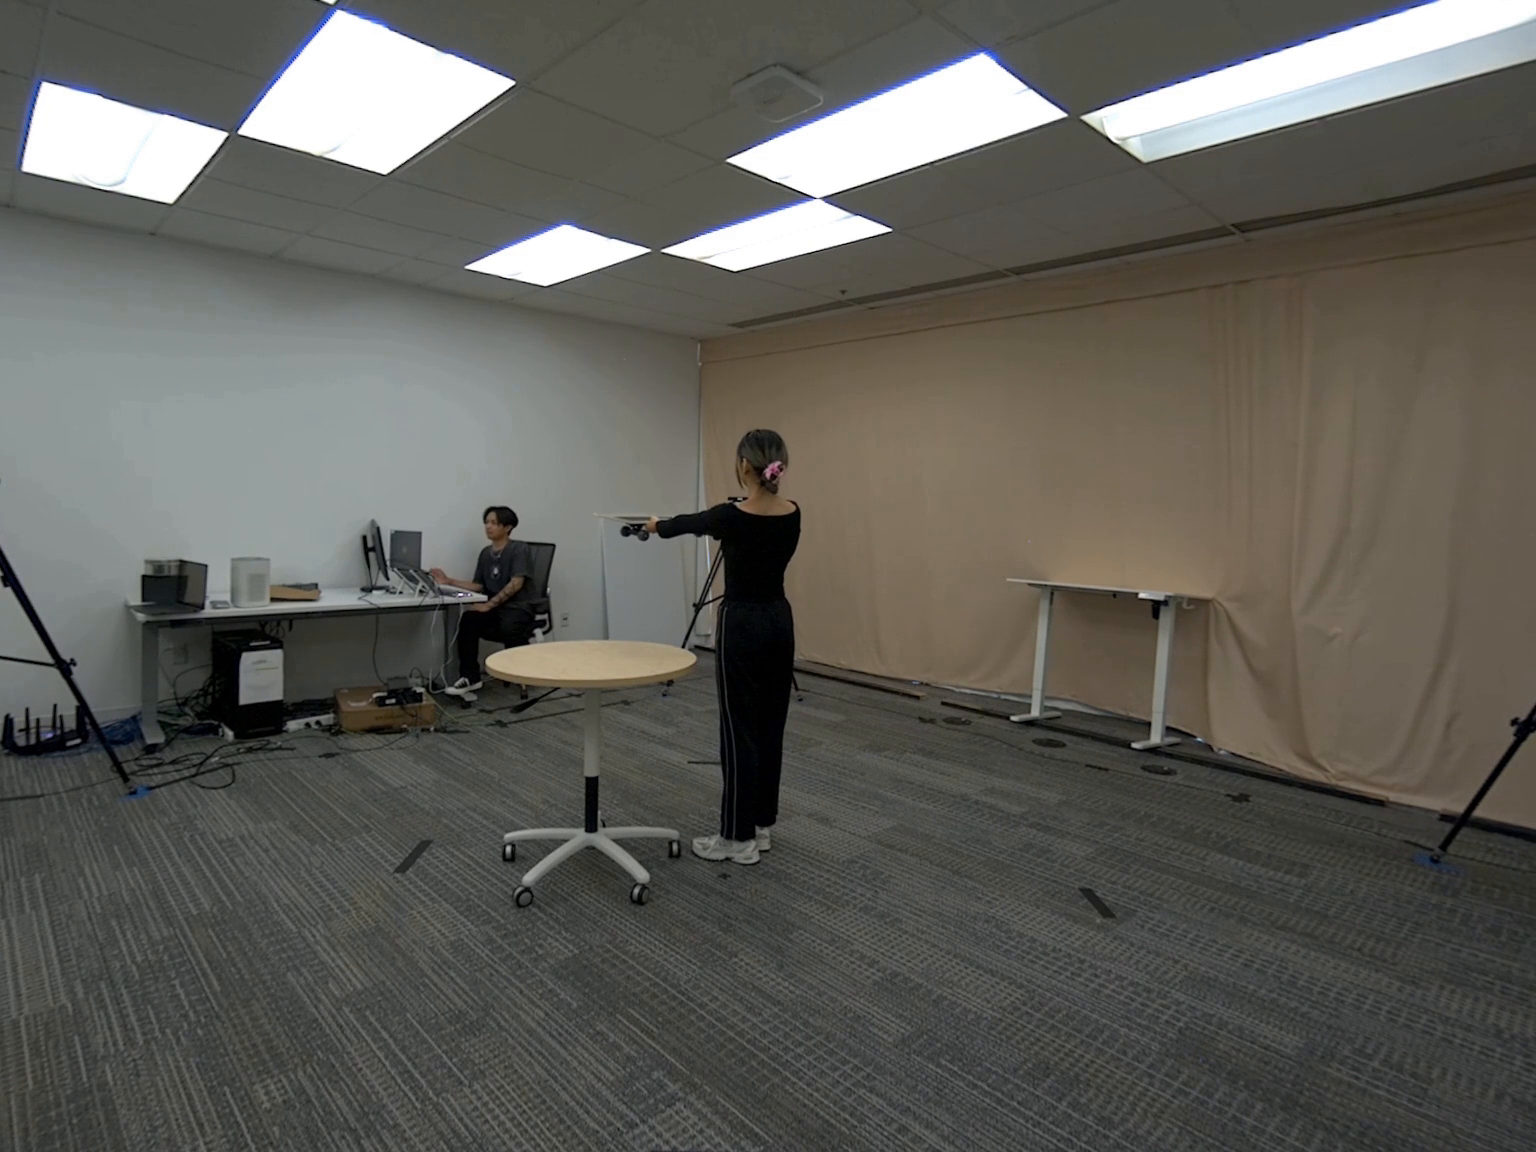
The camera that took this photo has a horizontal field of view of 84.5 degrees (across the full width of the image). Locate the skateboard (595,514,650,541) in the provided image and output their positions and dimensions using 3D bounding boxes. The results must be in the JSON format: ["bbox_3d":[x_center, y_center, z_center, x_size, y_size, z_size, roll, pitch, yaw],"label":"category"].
[{"bbox_3d":[-0.424,-0.224,3.809,0.768,0.110,0.199,-3,10,-38],"label":"skateboard"}]
